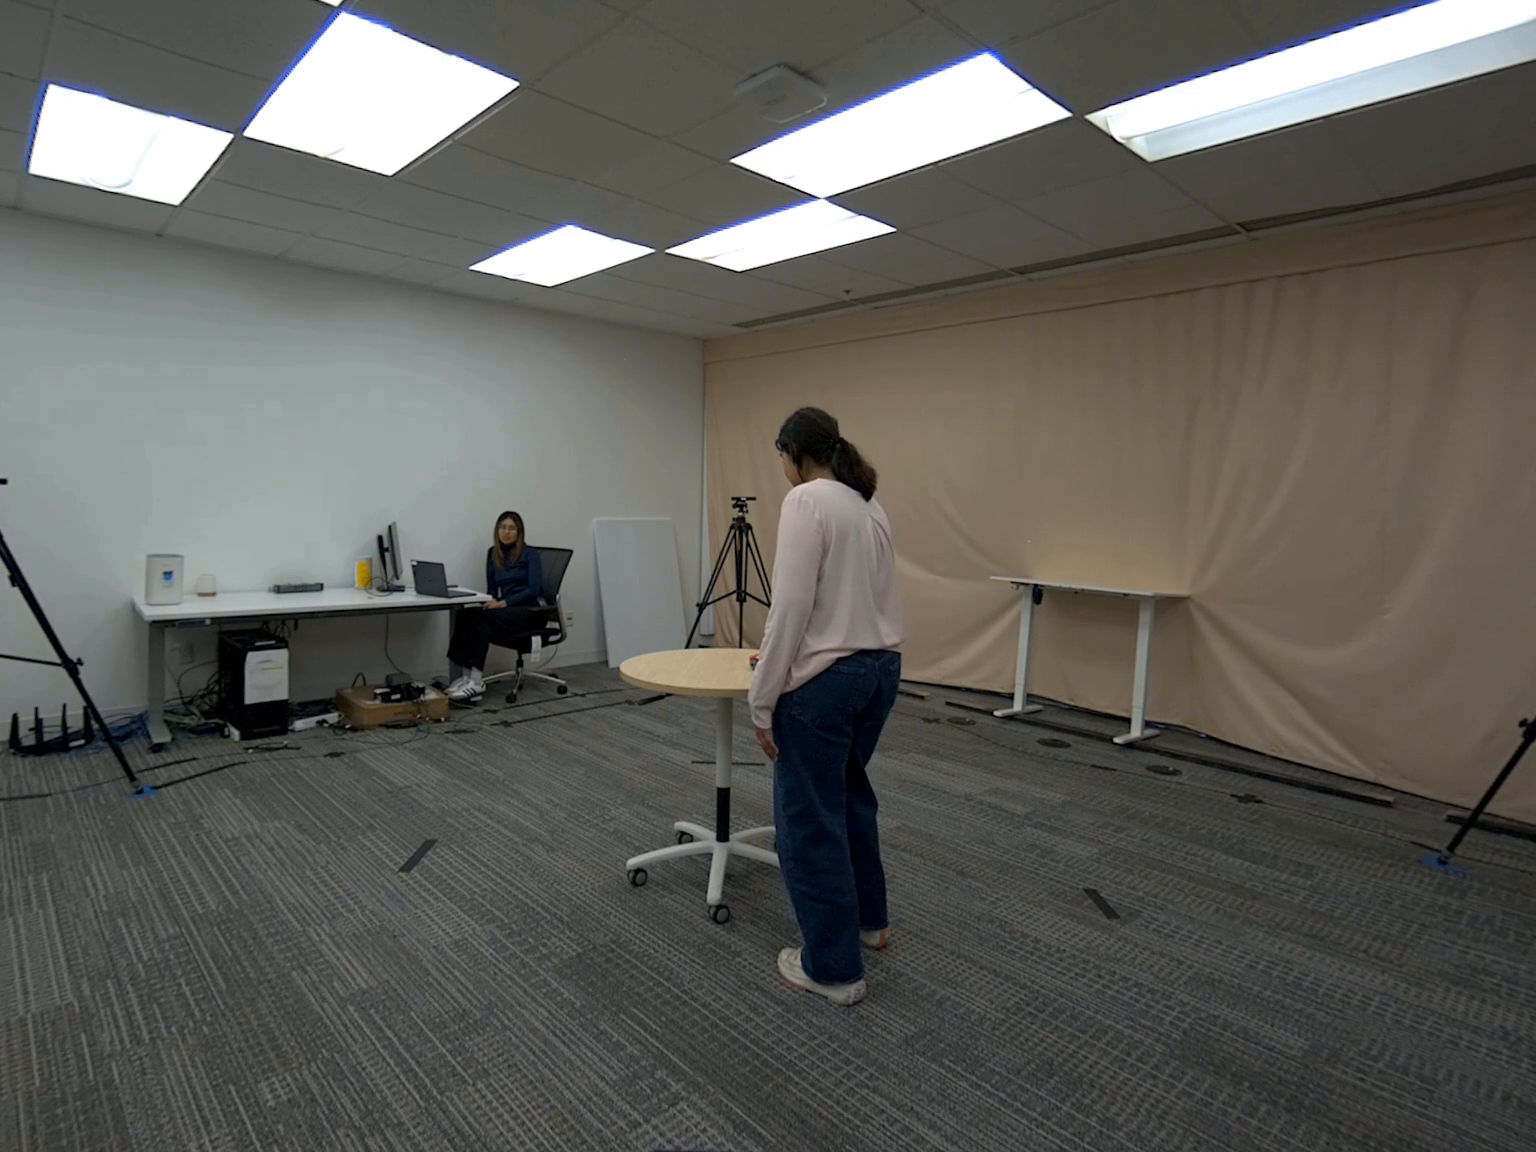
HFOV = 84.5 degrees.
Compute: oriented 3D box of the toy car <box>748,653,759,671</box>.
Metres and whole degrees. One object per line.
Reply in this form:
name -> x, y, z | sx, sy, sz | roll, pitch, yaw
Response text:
toy car -> 0.060, 0.308, 2.966 | 0.259, 0.083, 0.127 | -10, -4, 36
